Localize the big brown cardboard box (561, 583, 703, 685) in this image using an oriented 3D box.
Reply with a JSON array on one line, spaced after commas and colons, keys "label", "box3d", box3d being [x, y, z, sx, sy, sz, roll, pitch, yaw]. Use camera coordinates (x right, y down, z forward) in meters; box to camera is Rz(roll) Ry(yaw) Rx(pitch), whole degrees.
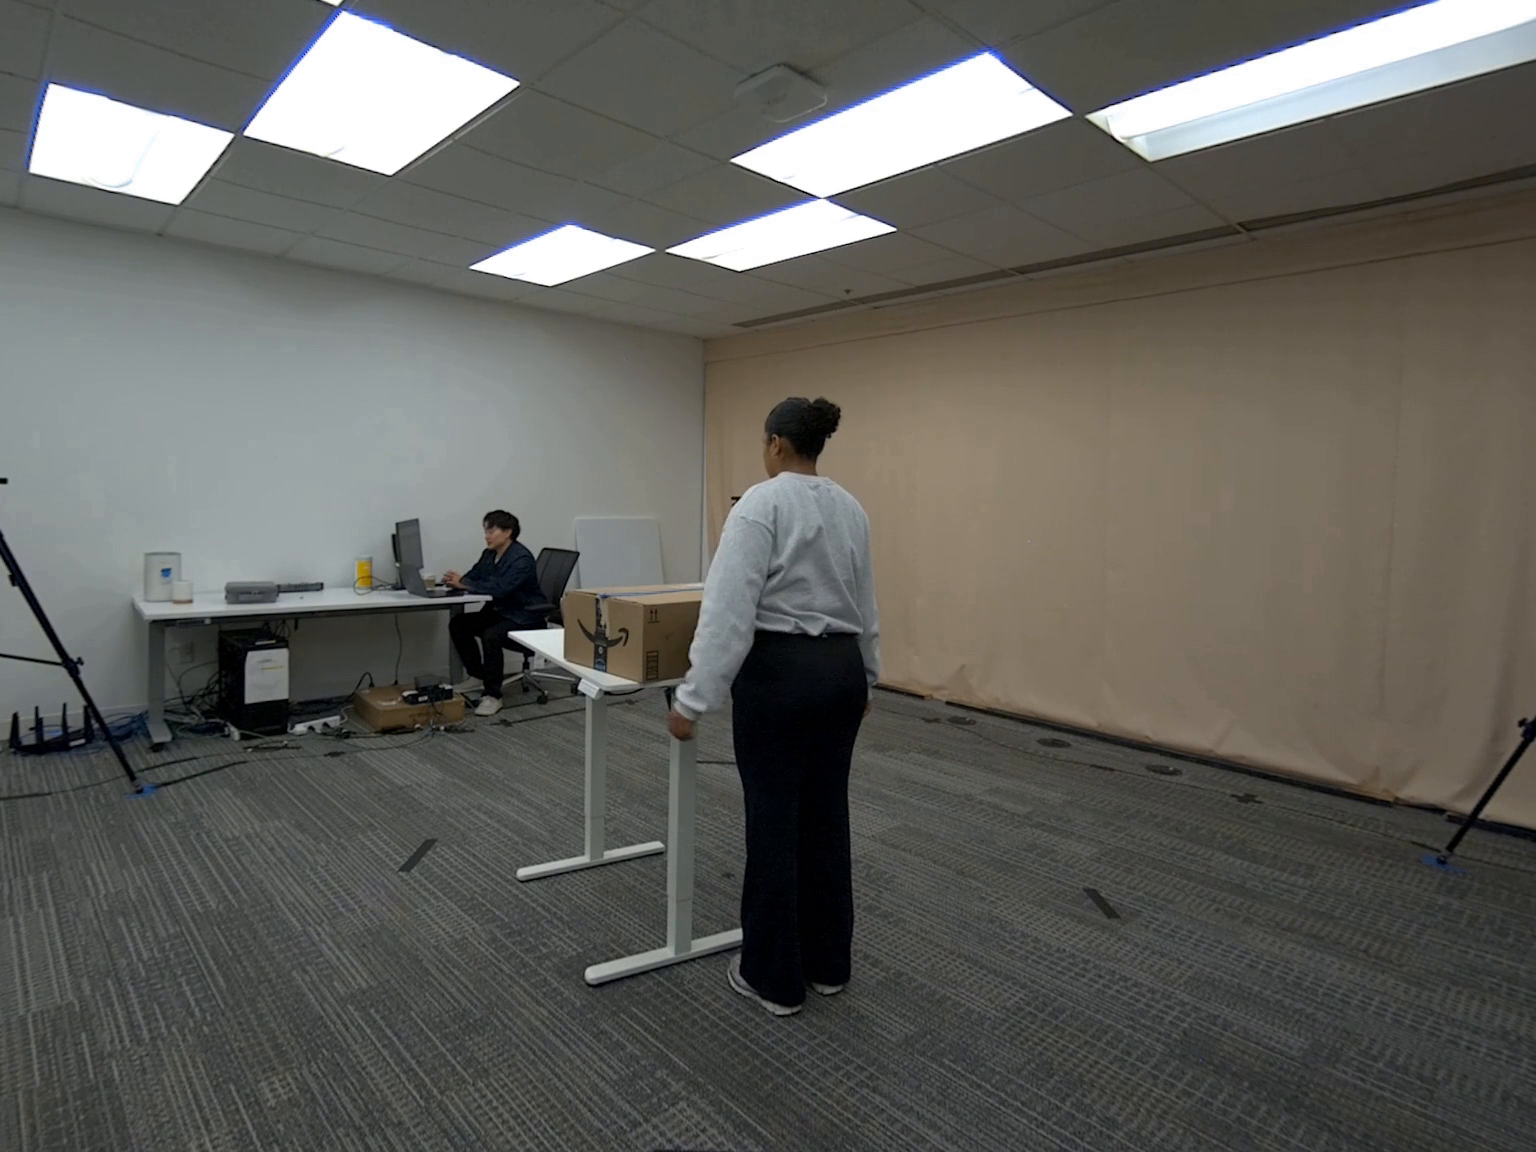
[{"label": "big brown cardboard box", "box3d": [-0.276, 0.158, 2.600, 0.576, 0.232, 0.428, -5, 7, -43]}]
